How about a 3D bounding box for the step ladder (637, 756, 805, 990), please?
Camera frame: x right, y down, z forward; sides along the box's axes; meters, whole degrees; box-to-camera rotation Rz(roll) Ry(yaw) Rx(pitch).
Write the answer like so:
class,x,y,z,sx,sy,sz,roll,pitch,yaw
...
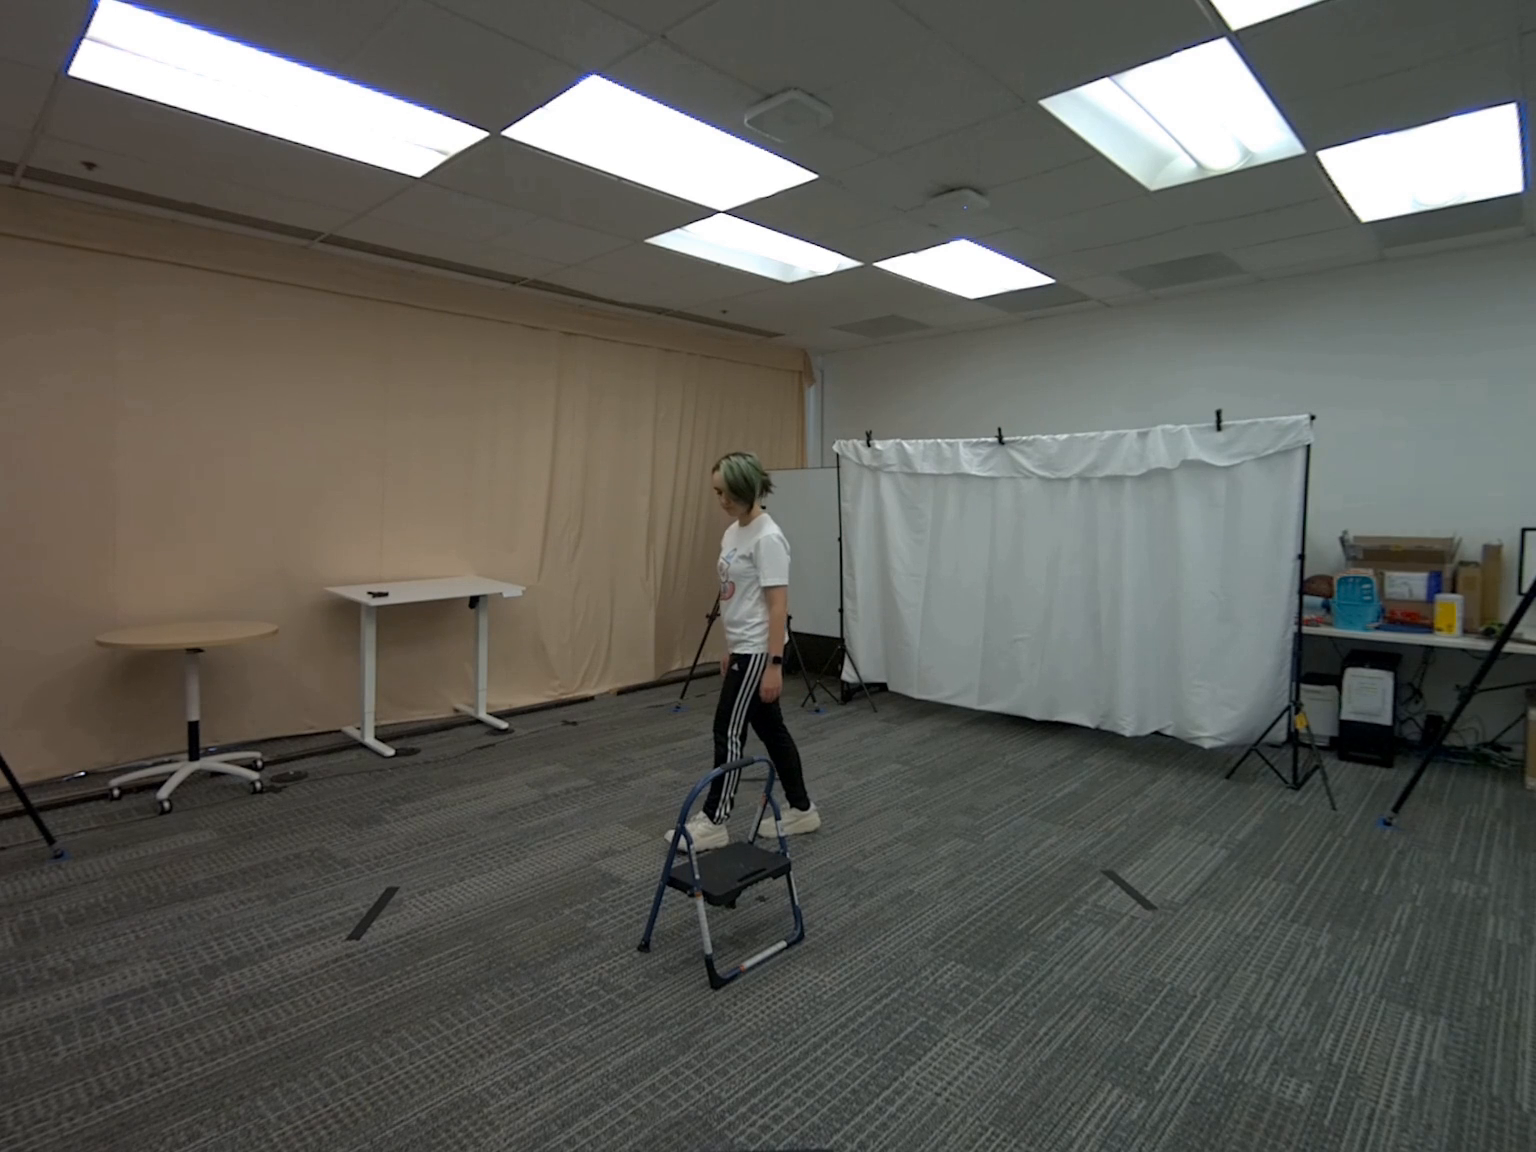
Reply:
class,x,y,z,sx,sy,sz,roll,pitch,yaw
step ladder,-0.144,0.865,2.666,0.361,0.605,0.417,2,5,42
